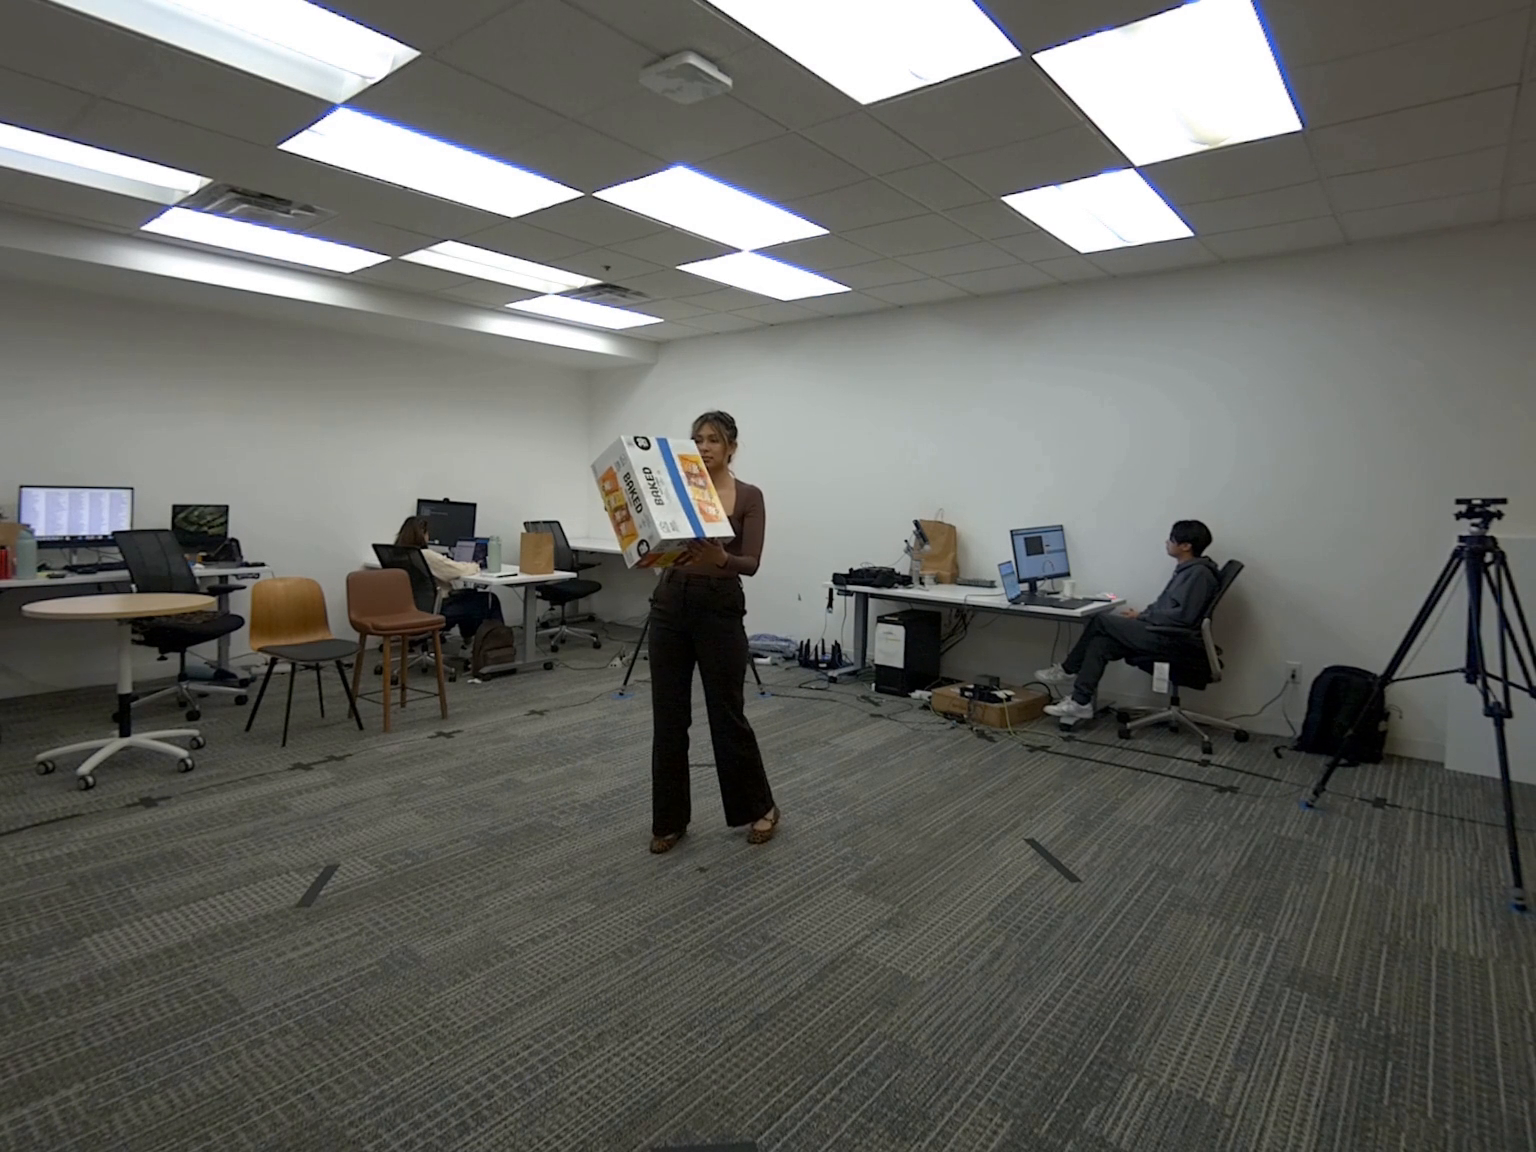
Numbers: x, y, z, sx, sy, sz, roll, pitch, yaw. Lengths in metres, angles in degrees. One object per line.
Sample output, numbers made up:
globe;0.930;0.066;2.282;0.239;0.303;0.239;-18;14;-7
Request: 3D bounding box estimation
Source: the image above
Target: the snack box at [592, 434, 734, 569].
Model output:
snack box;-0.376;-0.259;2.944;0.330;0.415;0.207;-4;-26;-47
